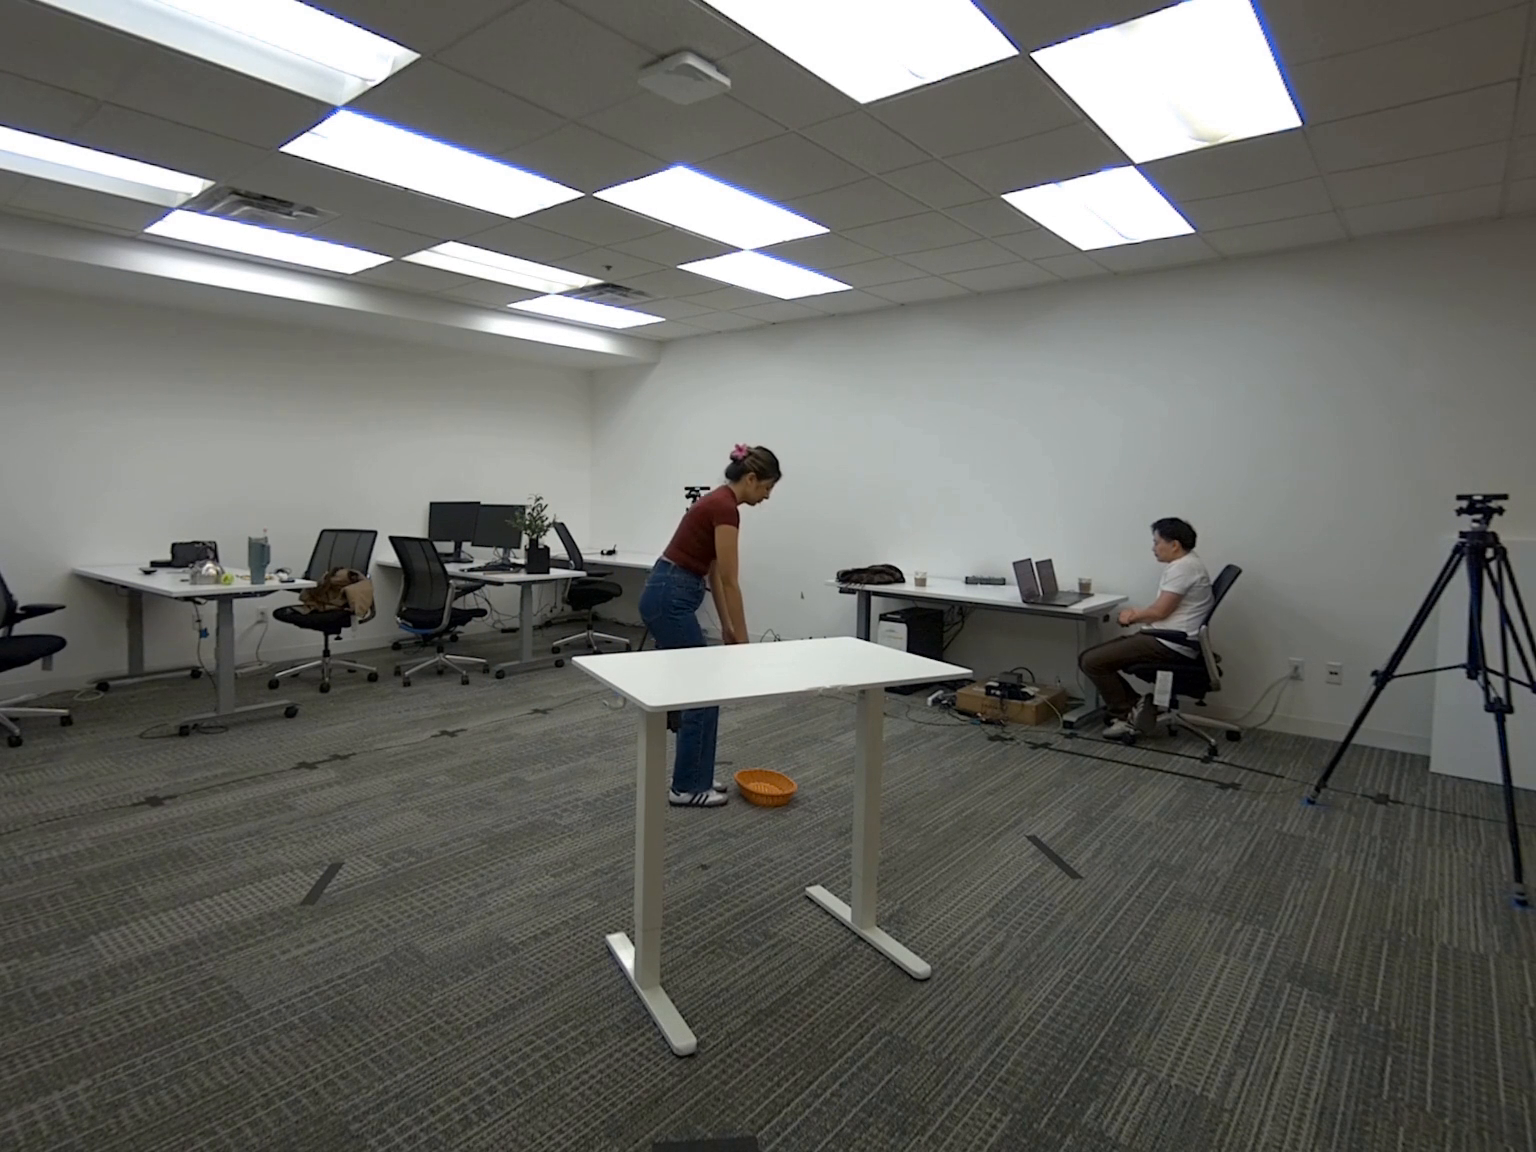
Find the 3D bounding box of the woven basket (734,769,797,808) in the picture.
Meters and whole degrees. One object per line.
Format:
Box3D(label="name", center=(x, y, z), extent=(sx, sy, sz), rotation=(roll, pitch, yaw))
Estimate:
Box3D(label="woven basket", center=(-0.024, 0.958, 3.853), extent=(0.247, 0.073, 0.359), rotation=(-2, 7, -22))
